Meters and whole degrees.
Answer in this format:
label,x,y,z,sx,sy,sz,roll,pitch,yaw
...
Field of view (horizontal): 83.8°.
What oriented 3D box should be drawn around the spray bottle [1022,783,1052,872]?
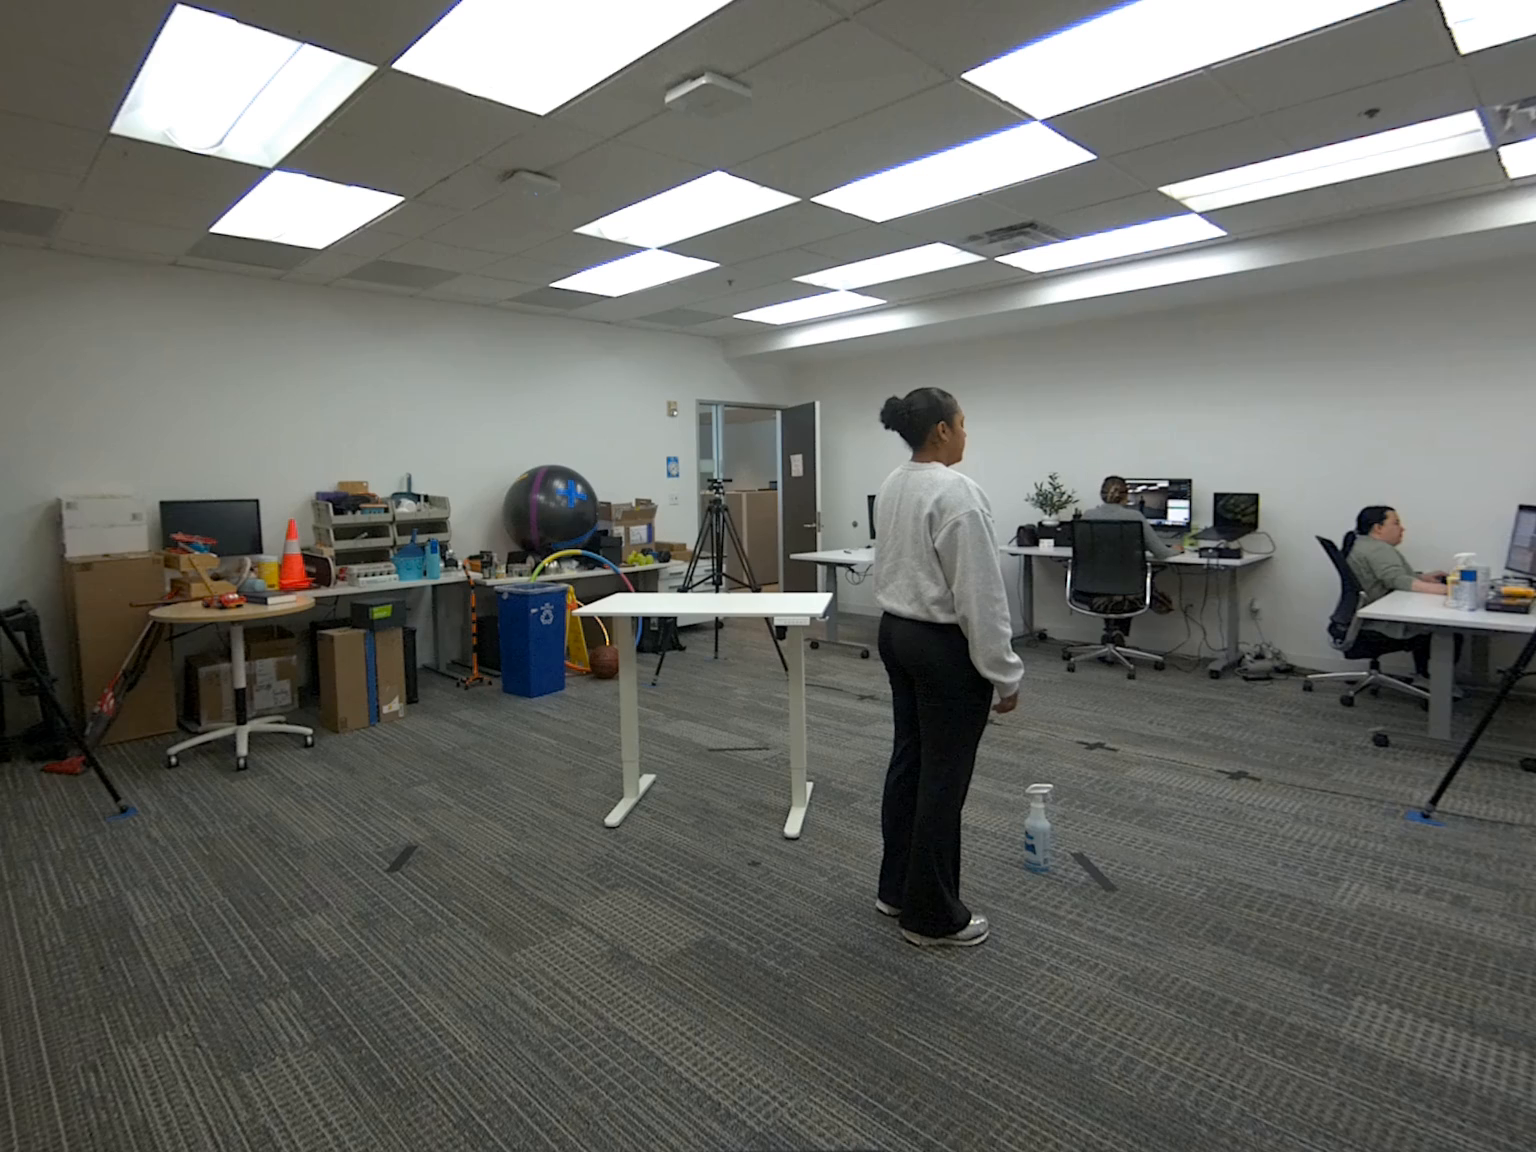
label,x,y,z,sx,sy,sz,roll,pitch,yaw
spray bottle,0.965,0.893,3.039,0.092,0.296,0.085,3,4,32
